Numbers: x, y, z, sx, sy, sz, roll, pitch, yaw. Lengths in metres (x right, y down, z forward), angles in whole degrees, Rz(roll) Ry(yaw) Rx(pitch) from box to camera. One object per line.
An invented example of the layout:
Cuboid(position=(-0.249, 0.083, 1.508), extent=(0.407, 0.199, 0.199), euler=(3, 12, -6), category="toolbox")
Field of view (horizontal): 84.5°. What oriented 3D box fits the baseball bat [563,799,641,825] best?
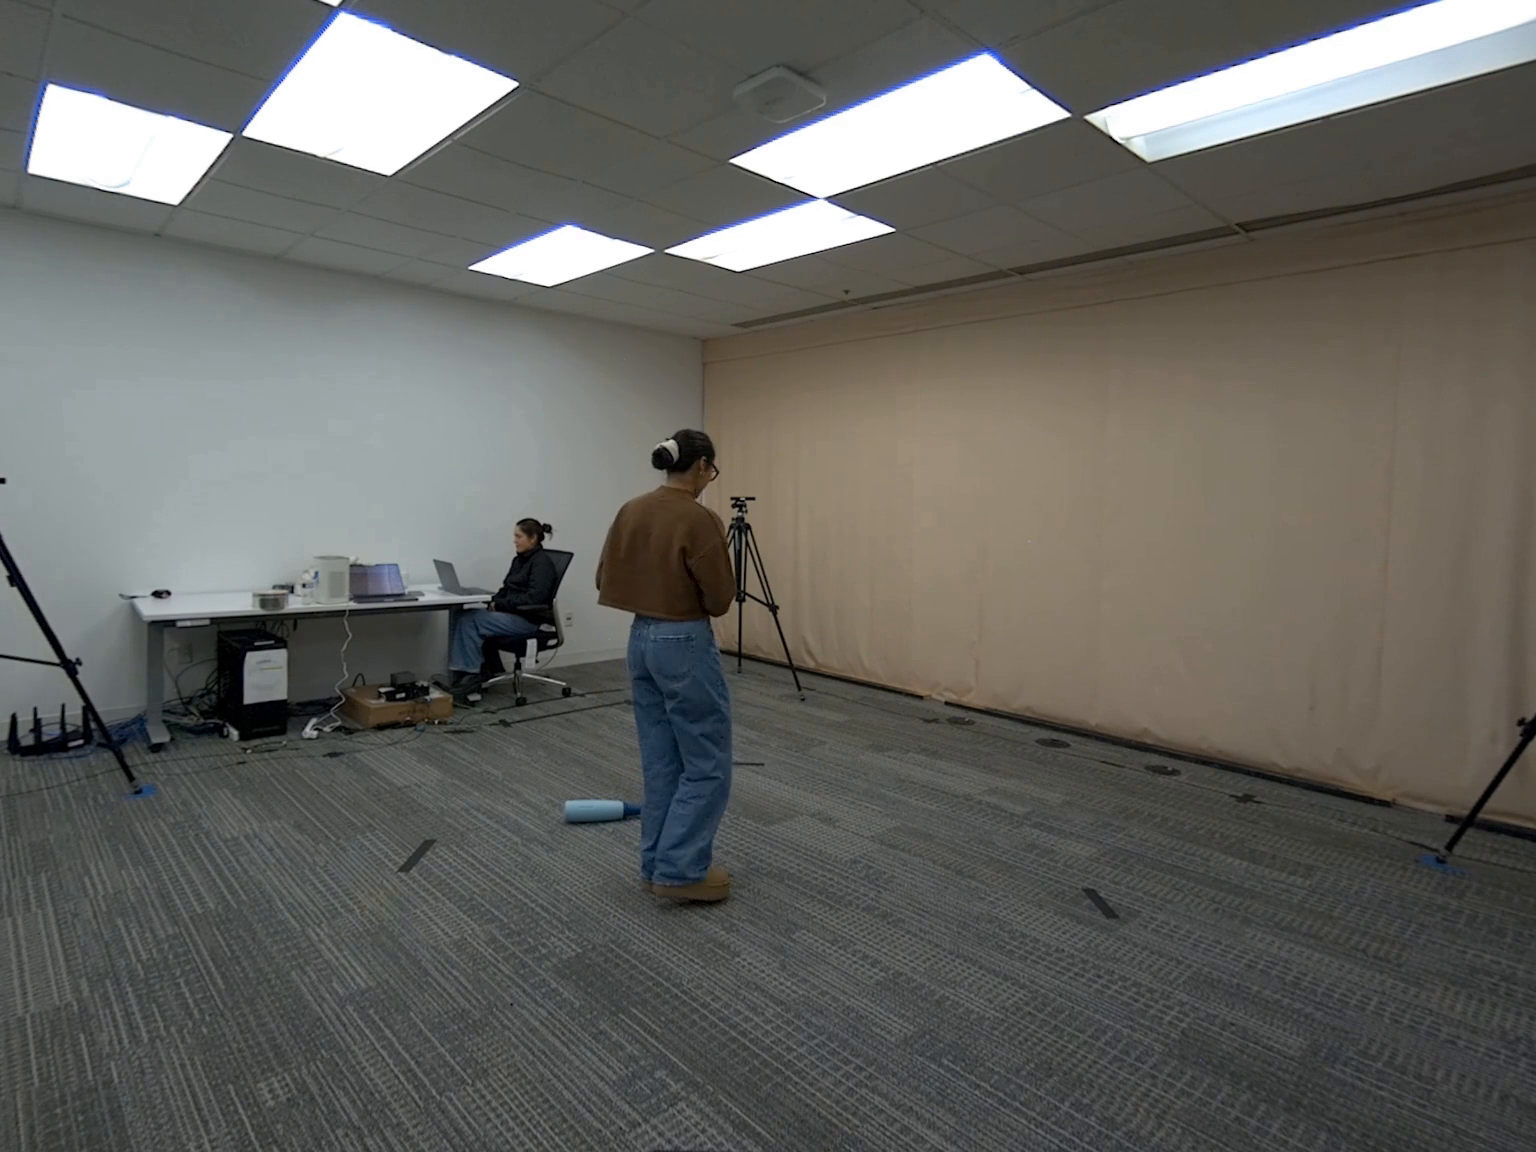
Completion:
Cuboid(position=(-0.619, 1.016, 3.640), extent=(0.536, 0.089, 0.090), euler=(4, 3, -16), category="baseball bat")
